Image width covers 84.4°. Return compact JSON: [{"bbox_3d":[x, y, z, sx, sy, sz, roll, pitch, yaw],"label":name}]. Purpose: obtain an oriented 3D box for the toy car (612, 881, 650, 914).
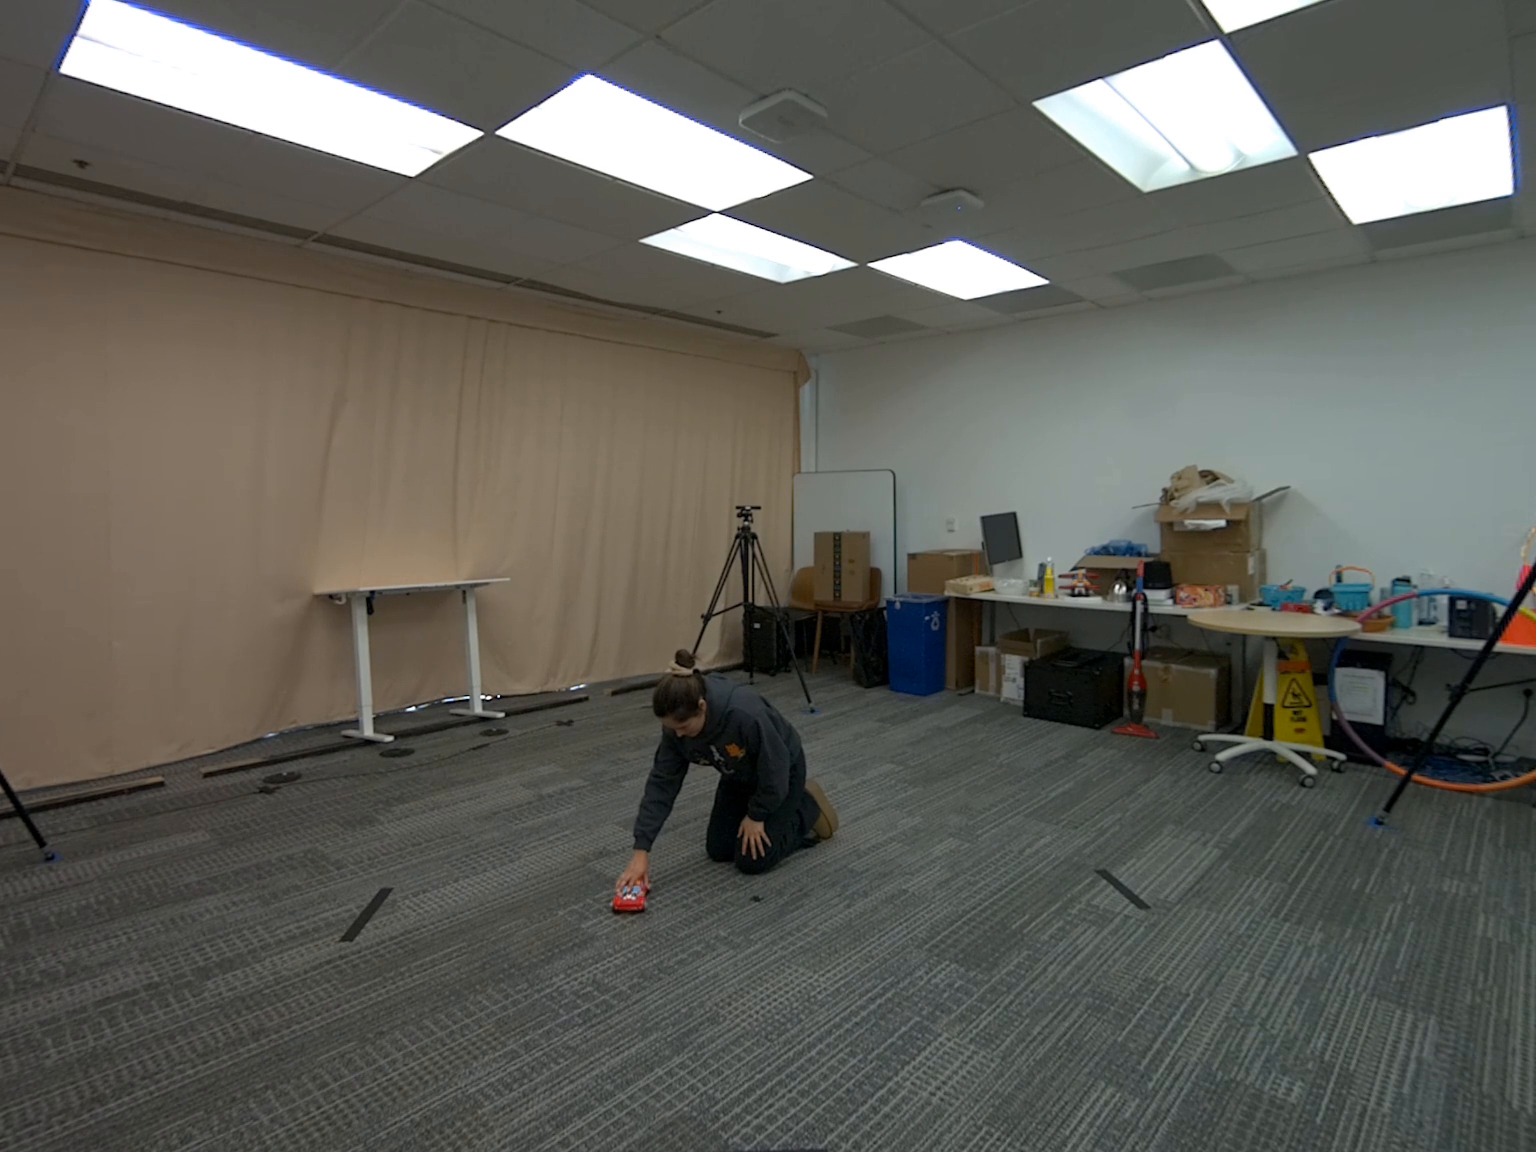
[{"bbox_3d":[-0.464,1.120,2.996,0.130,0.082,0.257,-1,15,-1],"label":"toy car"}]
